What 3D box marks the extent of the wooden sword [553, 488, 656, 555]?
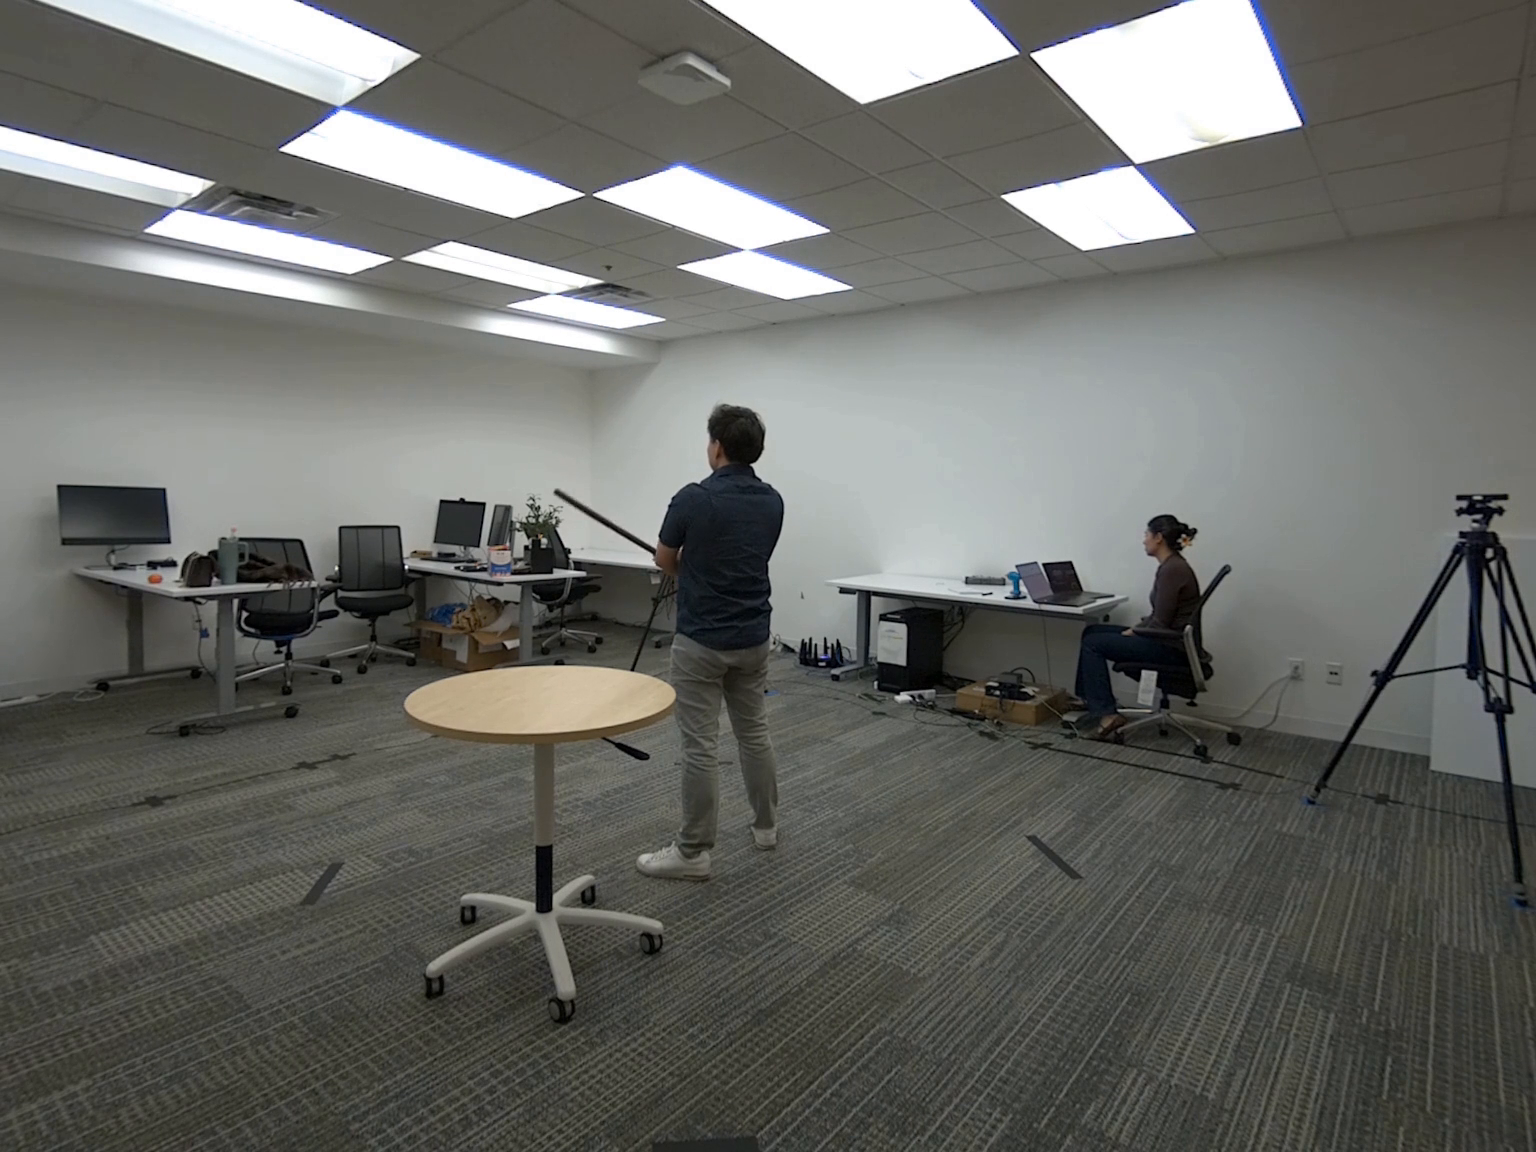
[{"bbox_3d":[-0.459,-0.090,3.466,0.993,0.024,0.052,32,-32,-24],"label":"wooden sword"}]
